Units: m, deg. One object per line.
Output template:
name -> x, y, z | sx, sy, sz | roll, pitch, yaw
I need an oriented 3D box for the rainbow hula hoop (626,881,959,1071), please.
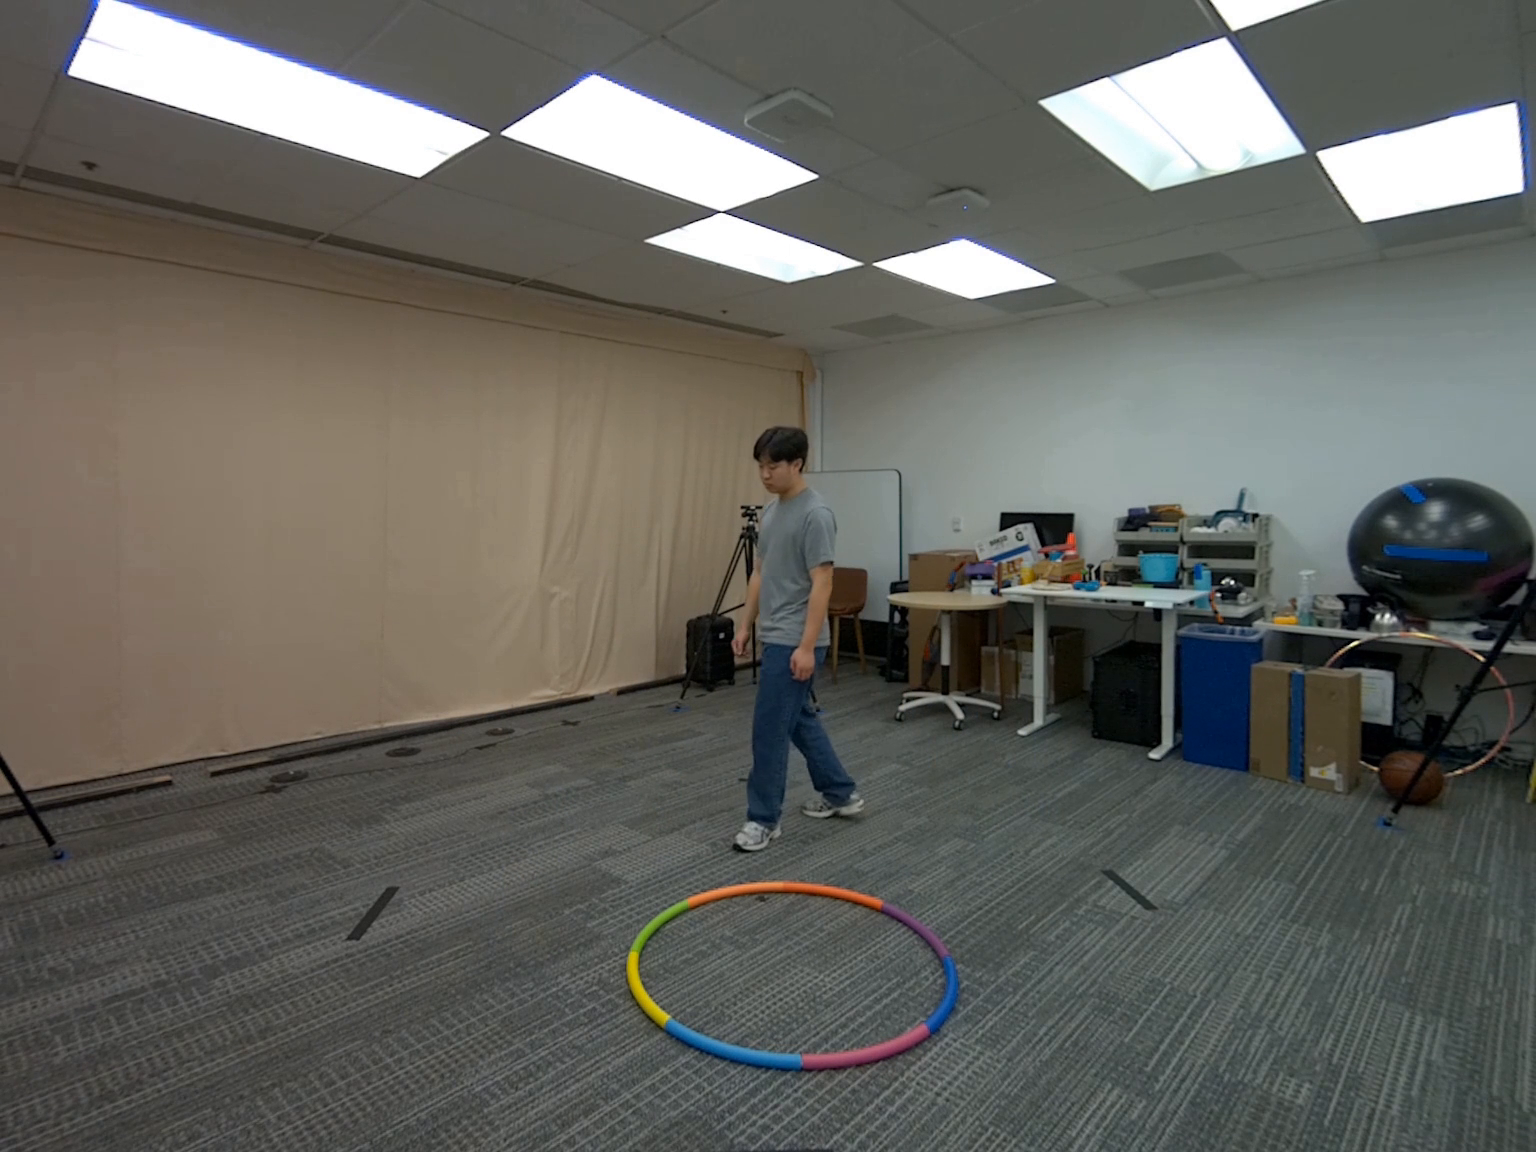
rainbow hula hoop -> 0.071, 1.146, 2.563 | 0.978, 0.035, 0.982 | 0, 4, -2
